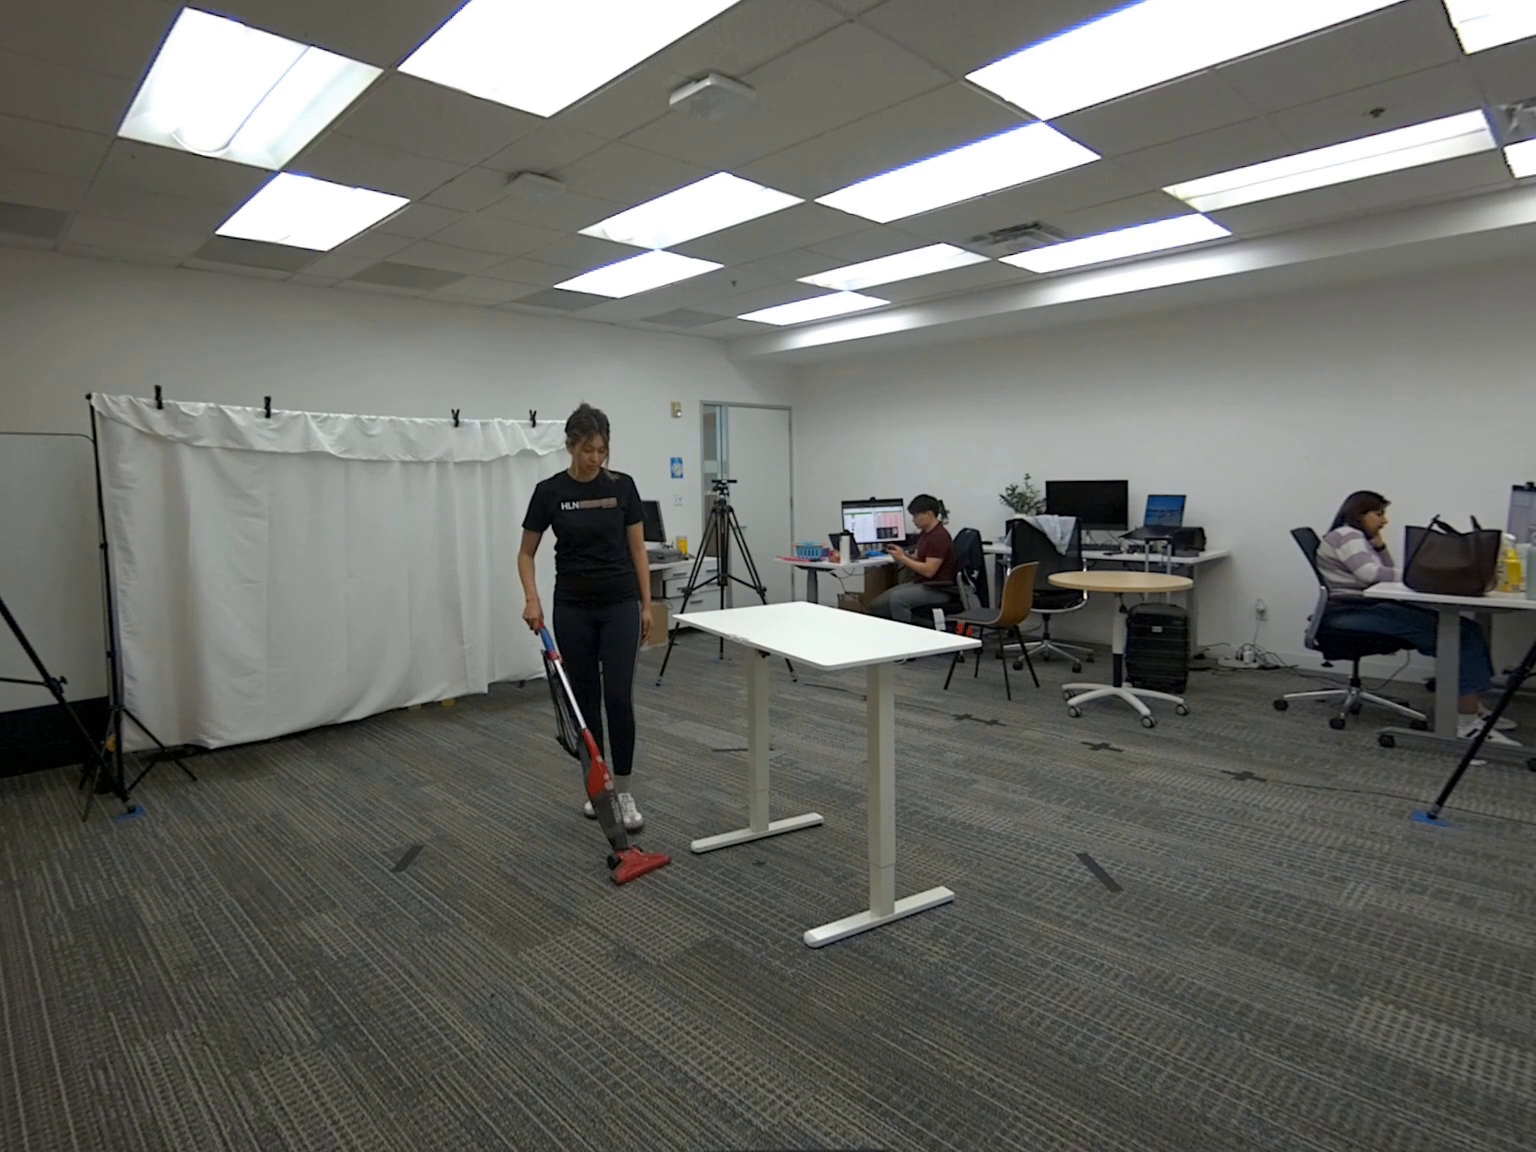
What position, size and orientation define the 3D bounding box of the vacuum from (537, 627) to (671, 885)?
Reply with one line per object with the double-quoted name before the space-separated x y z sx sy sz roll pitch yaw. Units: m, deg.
"vacuum" -0.713 0.617 3.267 0.245 1.075 0.144 -2 -32 -50
